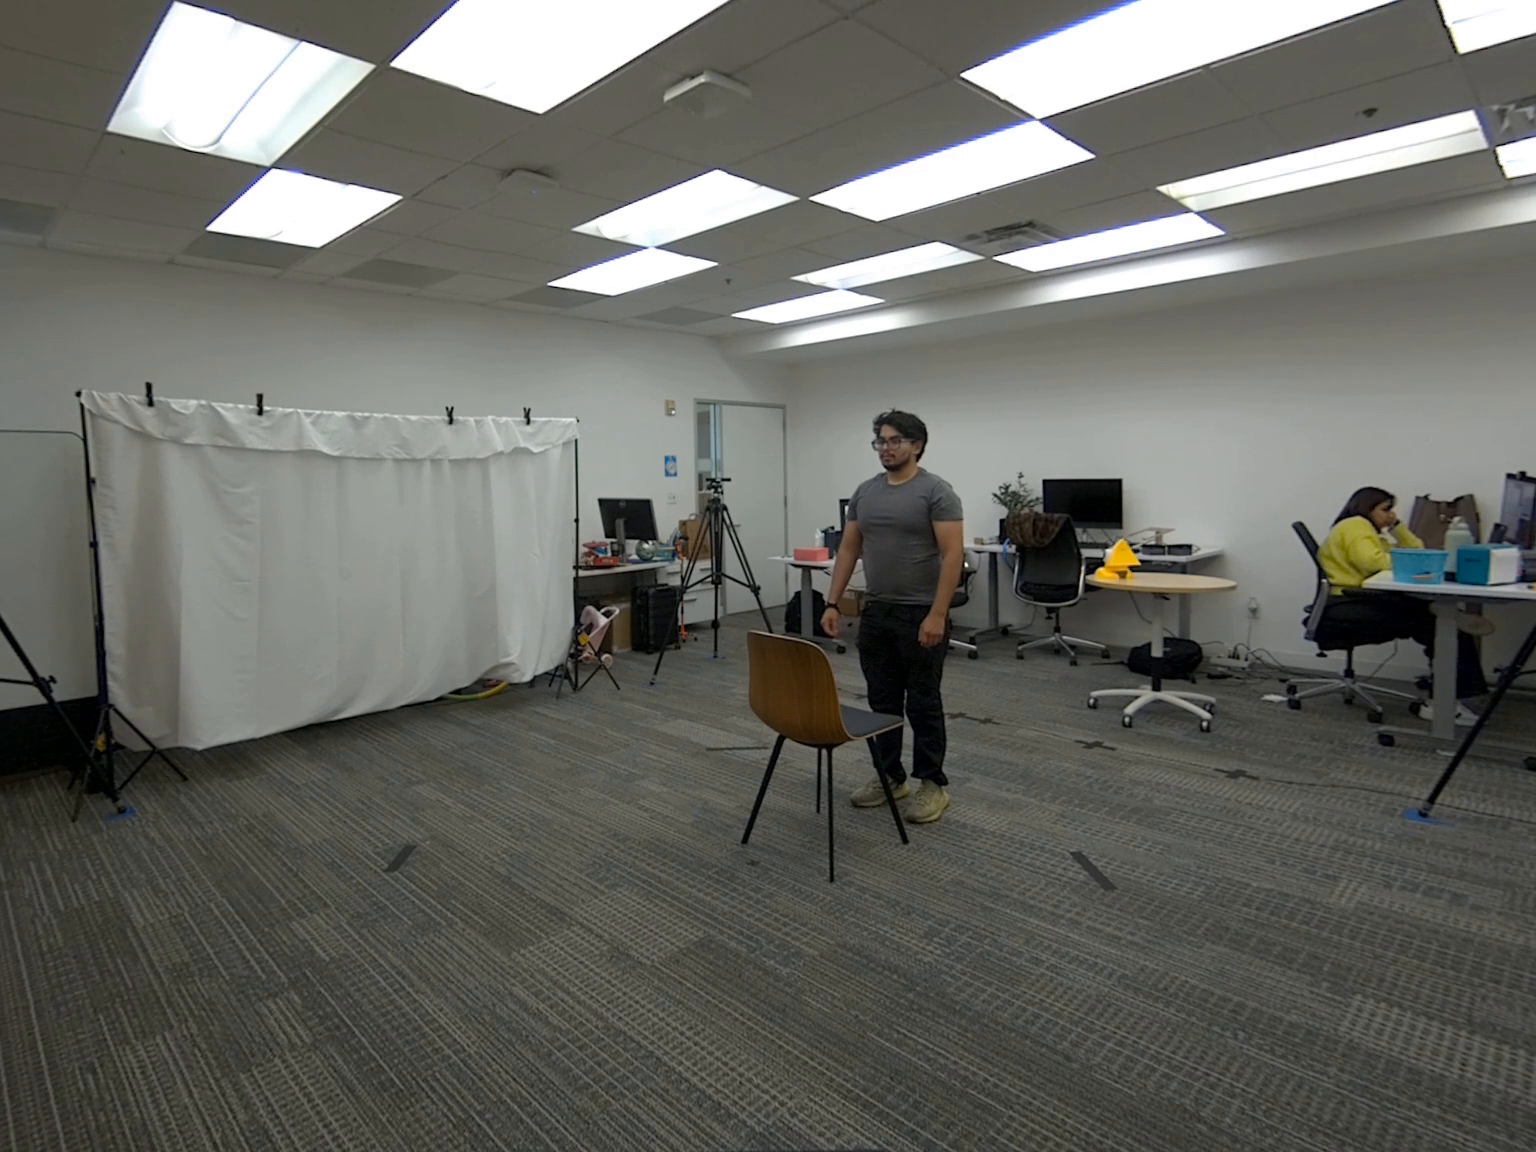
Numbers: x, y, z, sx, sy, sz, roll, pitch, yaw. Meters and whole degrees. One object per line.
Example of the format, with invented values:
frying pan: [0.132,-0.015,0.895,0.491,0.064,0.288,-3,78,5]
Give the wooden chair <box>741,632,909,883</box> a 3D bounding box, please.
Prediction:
wooden chair: [0.215,0.598,3.230,0.511,0.871,0.493,-11,10,-44]
